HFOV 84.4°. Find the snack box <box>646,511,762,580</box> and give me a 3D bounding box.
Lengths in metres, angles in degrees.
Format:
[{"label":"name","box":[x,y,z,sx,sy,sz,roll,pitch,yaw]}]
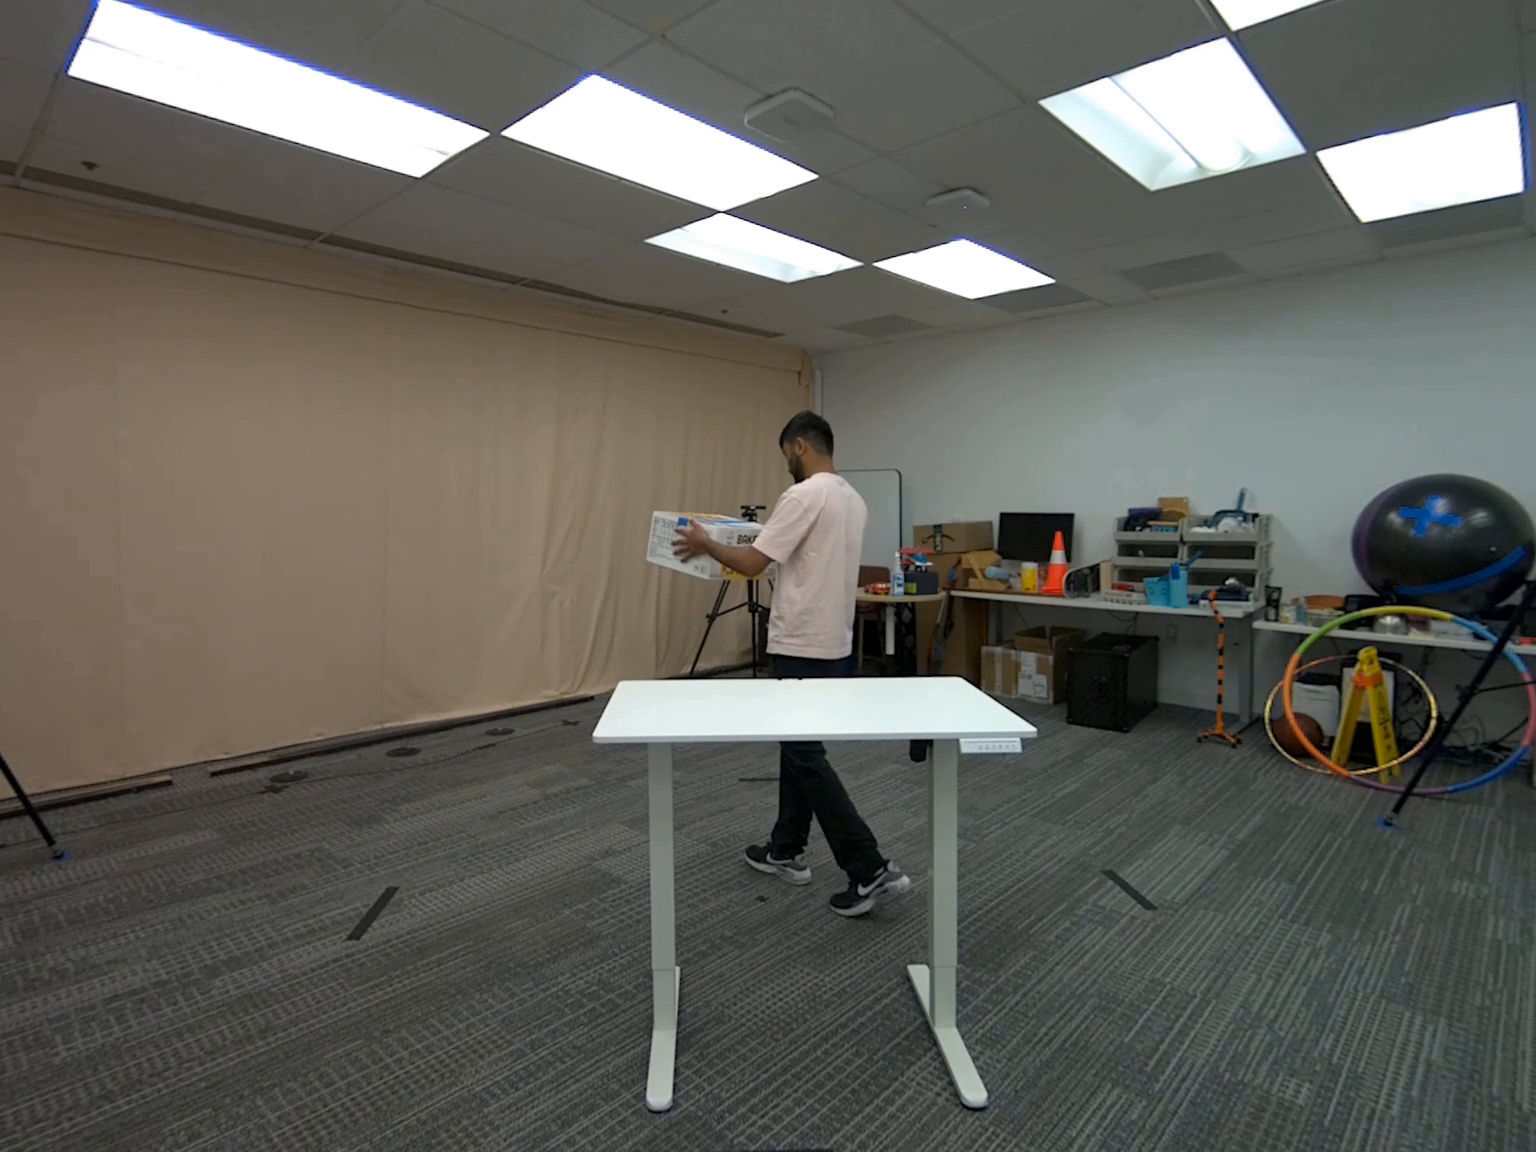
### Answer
[{"label":"snack box","box":[-0.205,-0.121,3.326,0.352,0.205,0.392,16,10,37]}]
